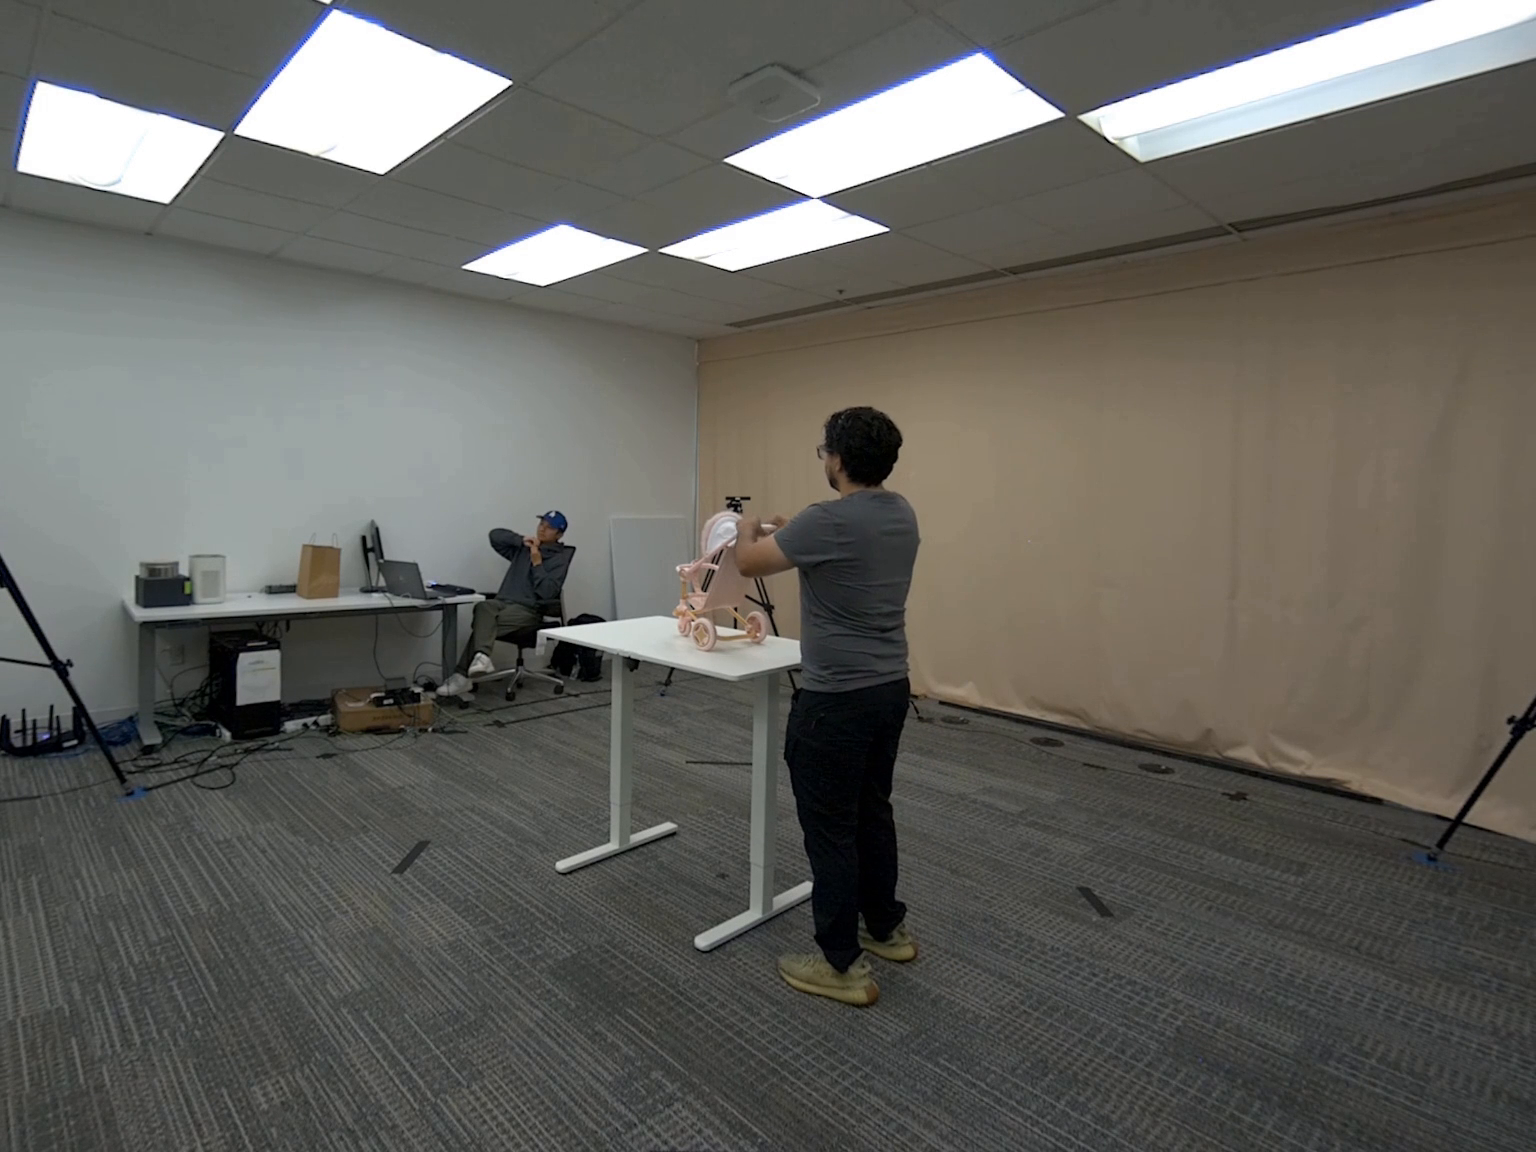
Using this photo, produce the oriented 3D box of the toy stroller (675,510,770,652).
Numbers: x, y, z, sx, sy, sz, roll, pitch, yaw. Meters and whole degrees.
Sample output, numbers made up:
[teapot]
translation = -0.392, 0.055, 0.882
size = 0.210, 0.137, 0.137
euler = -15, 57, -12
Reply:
[toy stroller]
translation = -0.168, 0.017, 2.923
size = 0.275, 0.530, 0.352
euler = -2, 21, -41
